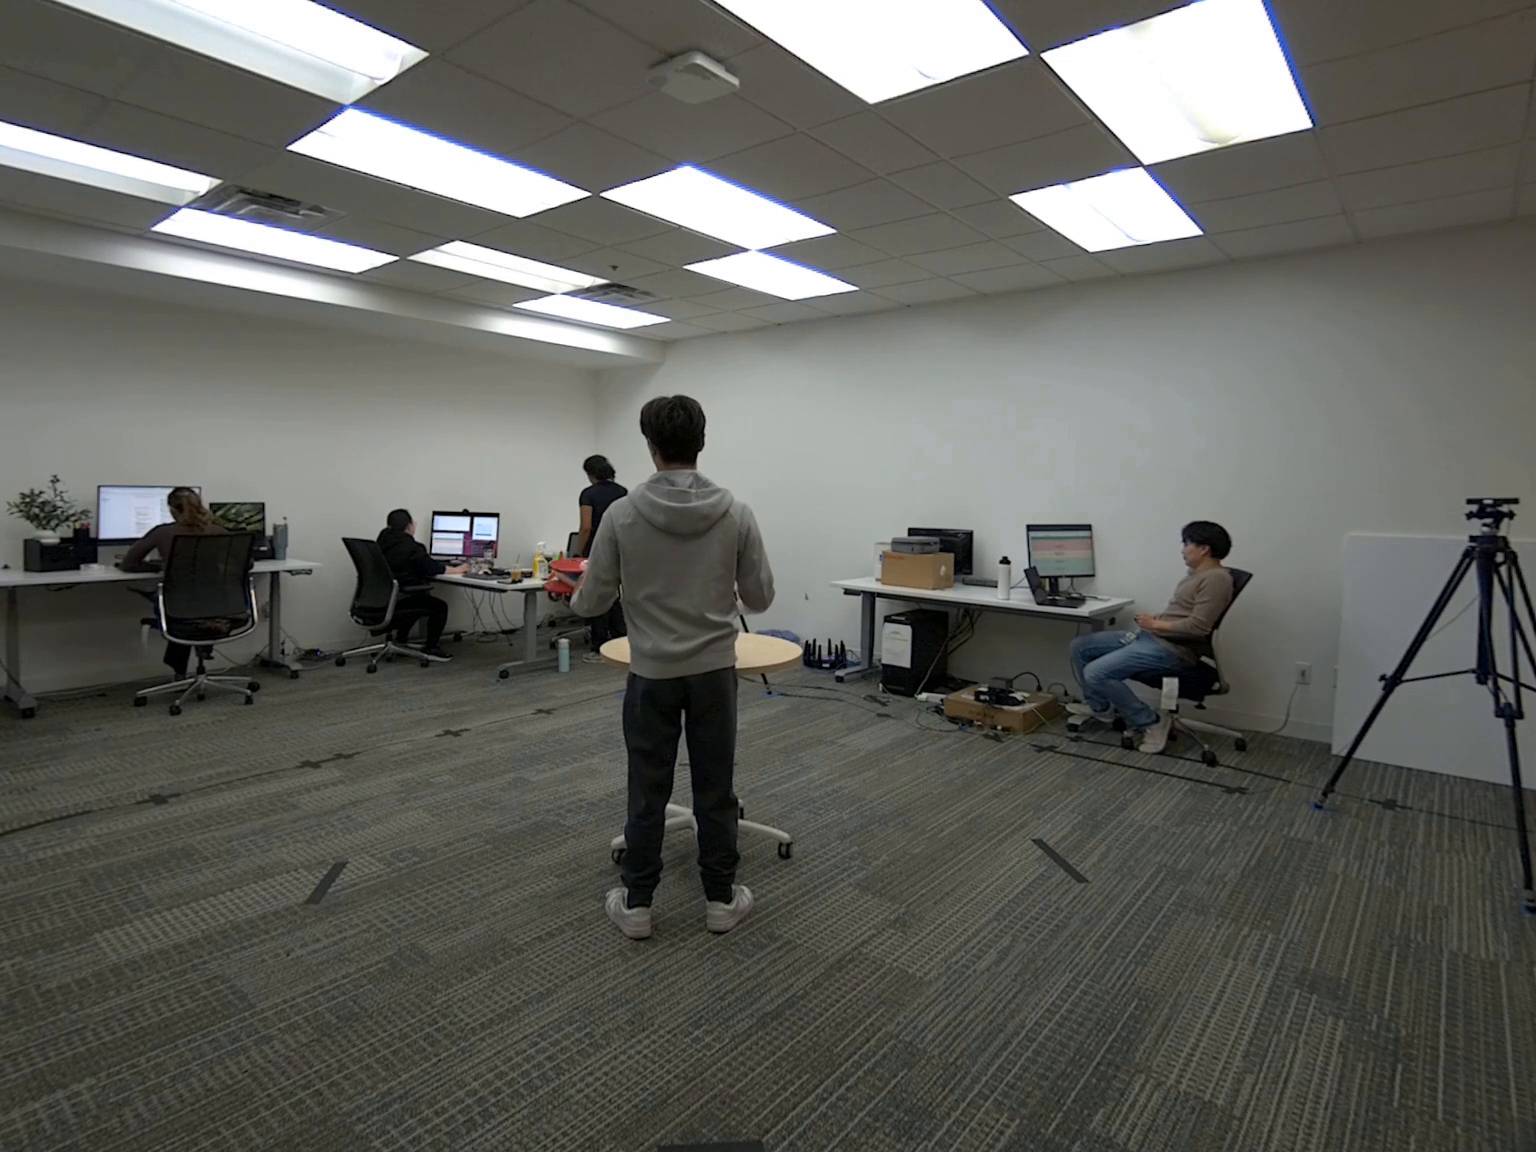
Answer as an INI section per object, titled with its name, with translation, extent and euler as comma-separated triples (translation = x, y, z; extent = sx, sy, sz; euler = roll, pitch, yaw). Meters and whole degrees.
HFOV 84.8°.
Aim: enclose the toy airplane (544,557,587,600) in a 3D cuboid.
[toy airplane]
translation = -0.647, 0.008, 3.016
extent = 0.260, 0.156, 0.251
euler = 4, 6, 3
